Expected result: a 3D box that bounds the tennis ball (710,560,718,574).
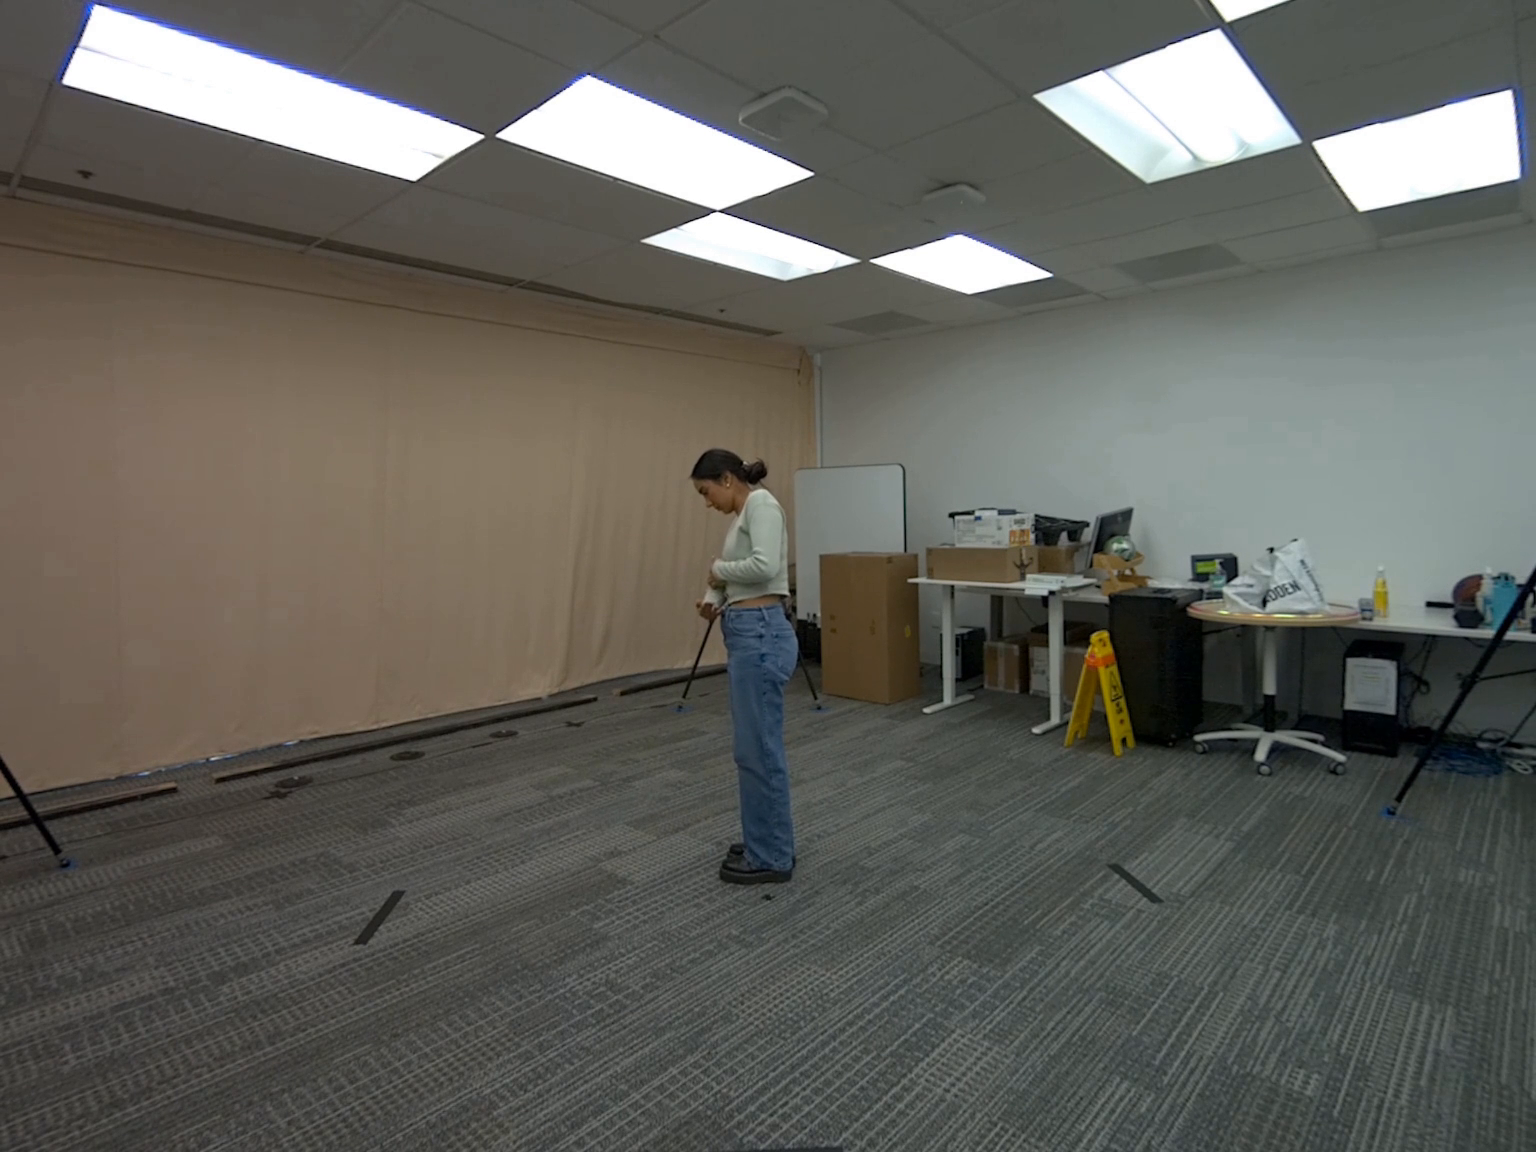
[{"bbox_3d":[-0.197,0.010,3.179,0.066,0.066,0.067,-1,4,-2],"label":"tennis ball"}]
